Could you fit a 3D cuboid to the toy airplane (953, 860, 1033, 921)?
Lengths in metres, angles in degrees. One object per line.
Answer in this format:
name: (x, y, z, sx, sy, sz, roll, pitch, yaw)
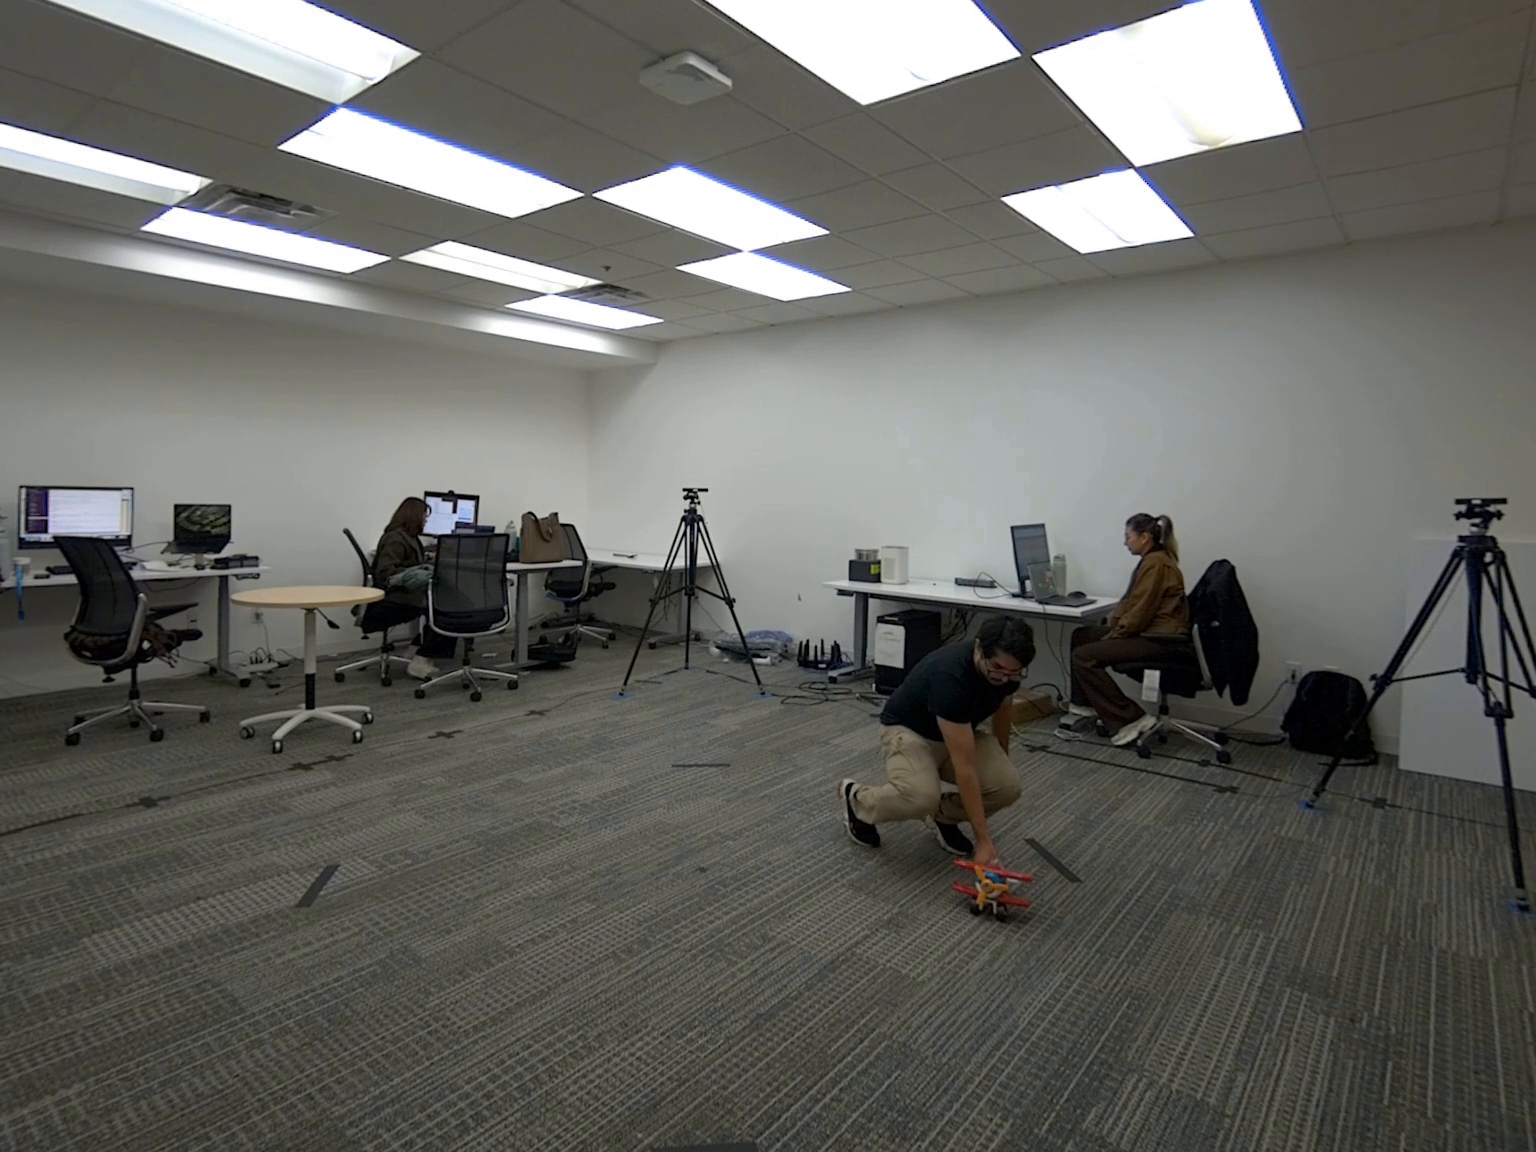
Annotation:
toy airplane: (0.740, 1.042, 2.891, 0.251, 0.155, 0.261, 1, 7, -2)
